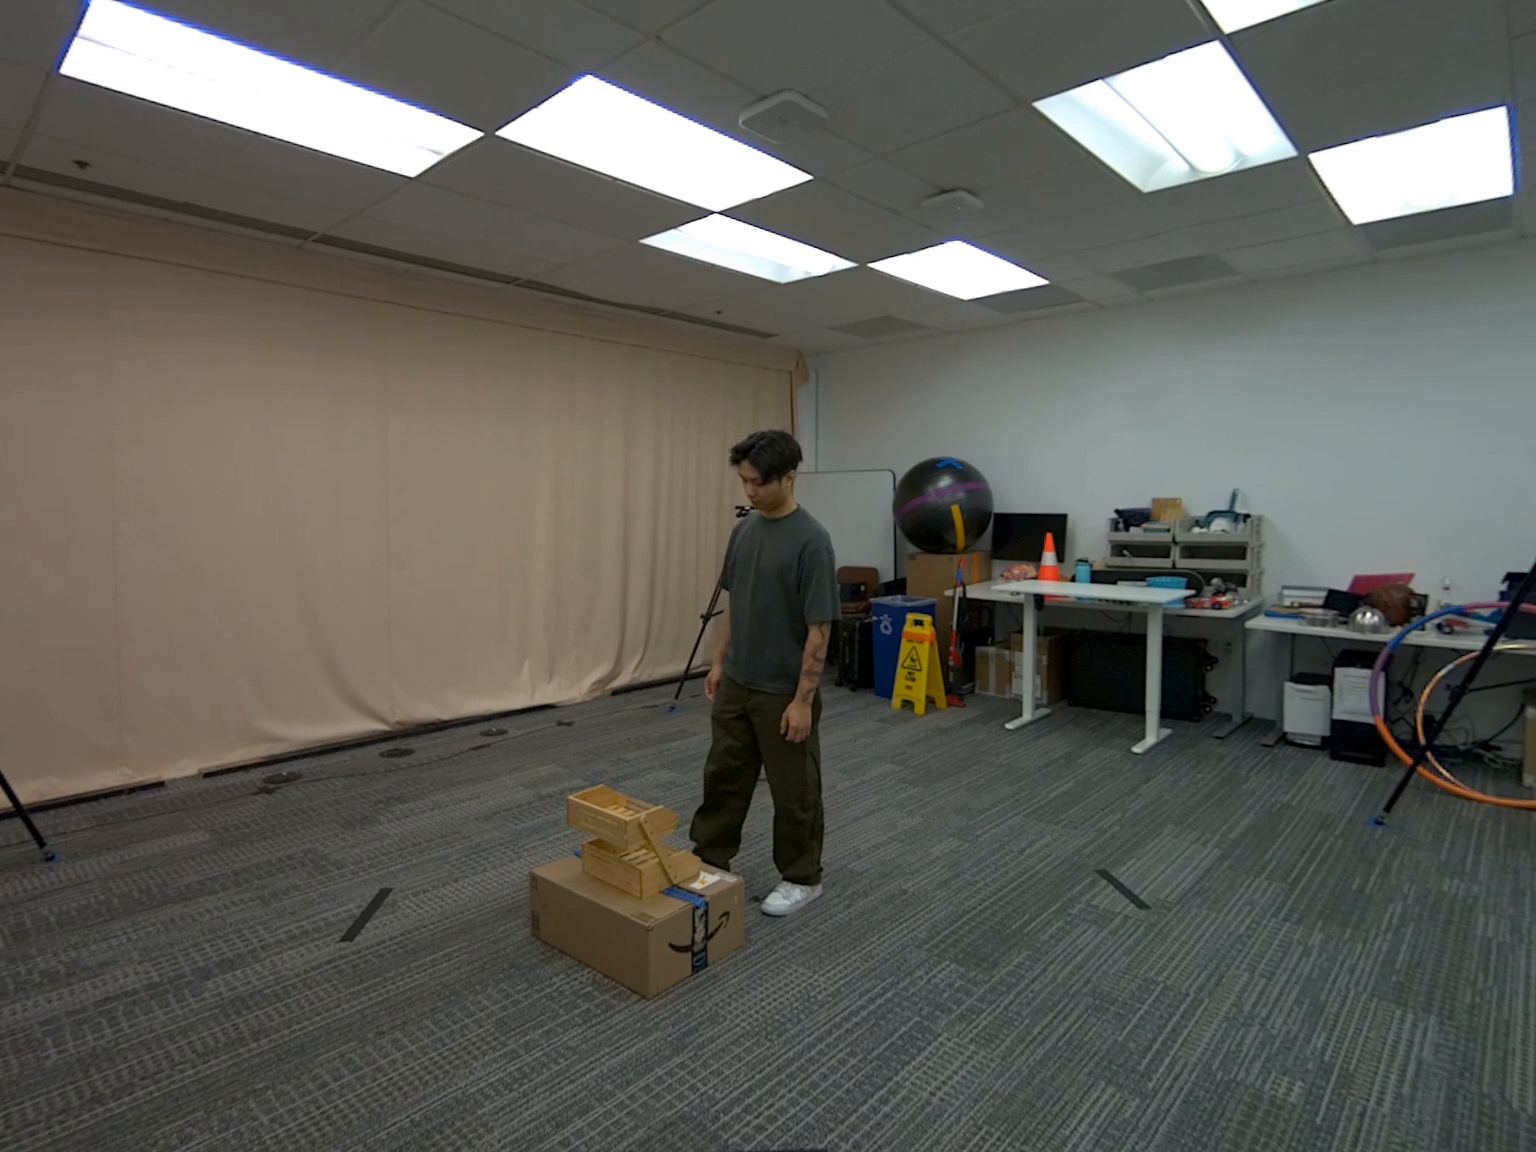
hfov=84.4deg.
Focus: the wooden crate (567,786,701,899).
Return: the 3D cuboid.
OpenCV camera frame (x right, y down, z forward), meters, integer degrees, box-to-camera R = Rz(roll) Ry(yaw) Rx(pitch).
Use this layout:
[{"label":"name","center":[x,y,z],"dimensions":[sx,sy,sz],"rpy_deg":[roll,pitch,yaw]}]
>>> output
[{"label":"wooden crate","center":[-0.430,0.827,2.692],"dimensions":[0.335,0.272,0.293],"rpy_deg":[2,6,42]}]
